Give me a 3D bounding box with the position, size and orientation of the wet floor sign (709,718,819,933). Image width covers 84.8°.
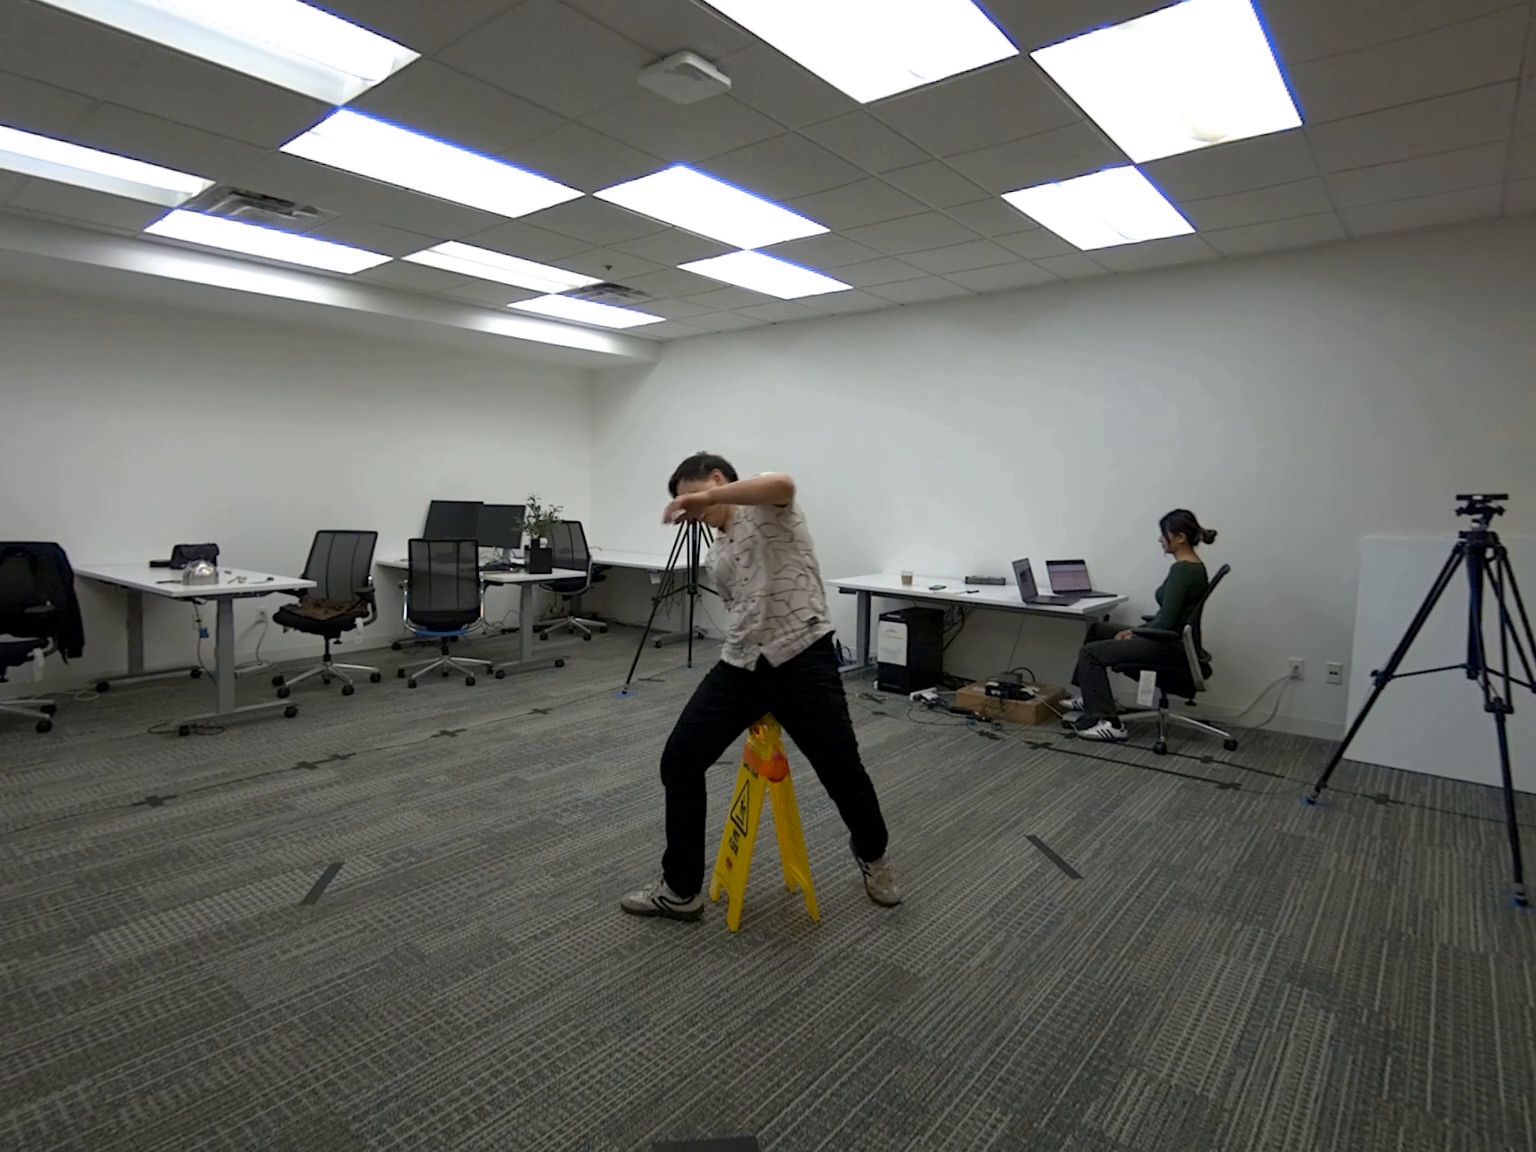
[{"bbox_3d":[-0.019,0.771,2.807,0.284,0.644,0.288,1,4,-18],"label":"wet floor sign"}]
